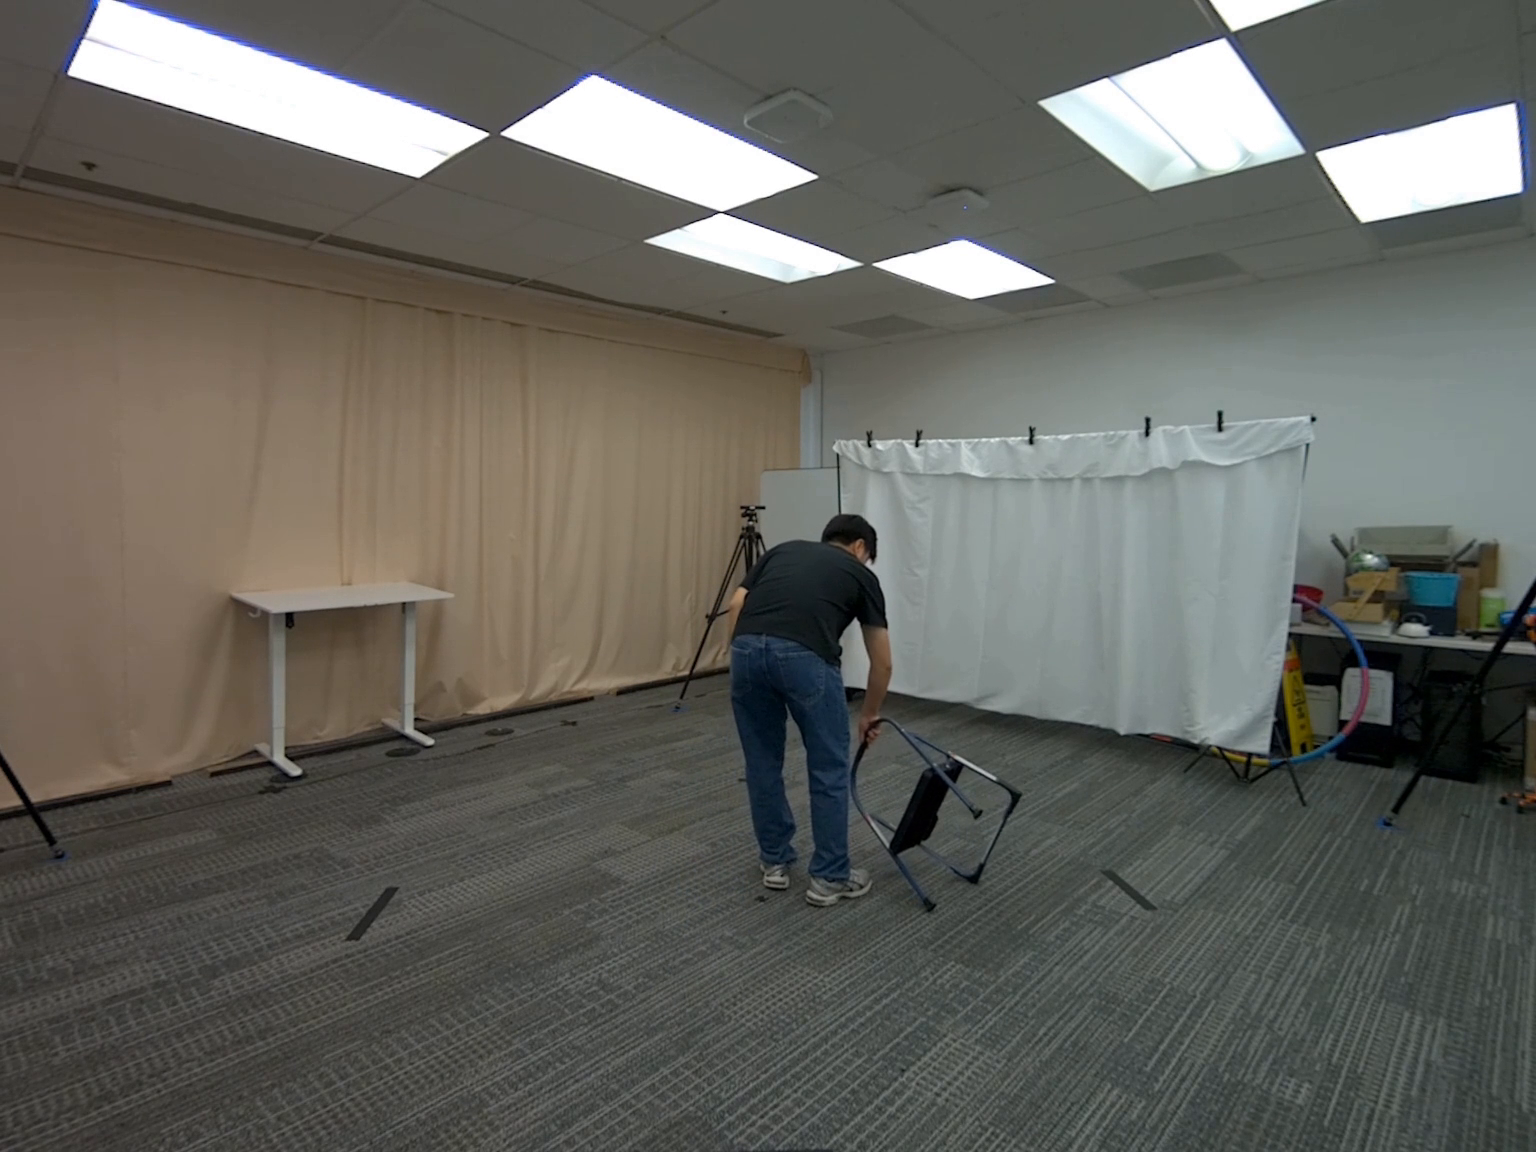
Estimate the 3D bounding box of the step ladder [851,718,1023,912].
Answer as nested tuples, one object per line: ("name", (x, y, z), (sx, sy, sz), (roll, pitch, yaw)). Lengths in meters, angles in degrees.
("step ladder", (0.537, 0.820, 3.111), (0.338, 0.429, 0.628), (1, 26, -46))
